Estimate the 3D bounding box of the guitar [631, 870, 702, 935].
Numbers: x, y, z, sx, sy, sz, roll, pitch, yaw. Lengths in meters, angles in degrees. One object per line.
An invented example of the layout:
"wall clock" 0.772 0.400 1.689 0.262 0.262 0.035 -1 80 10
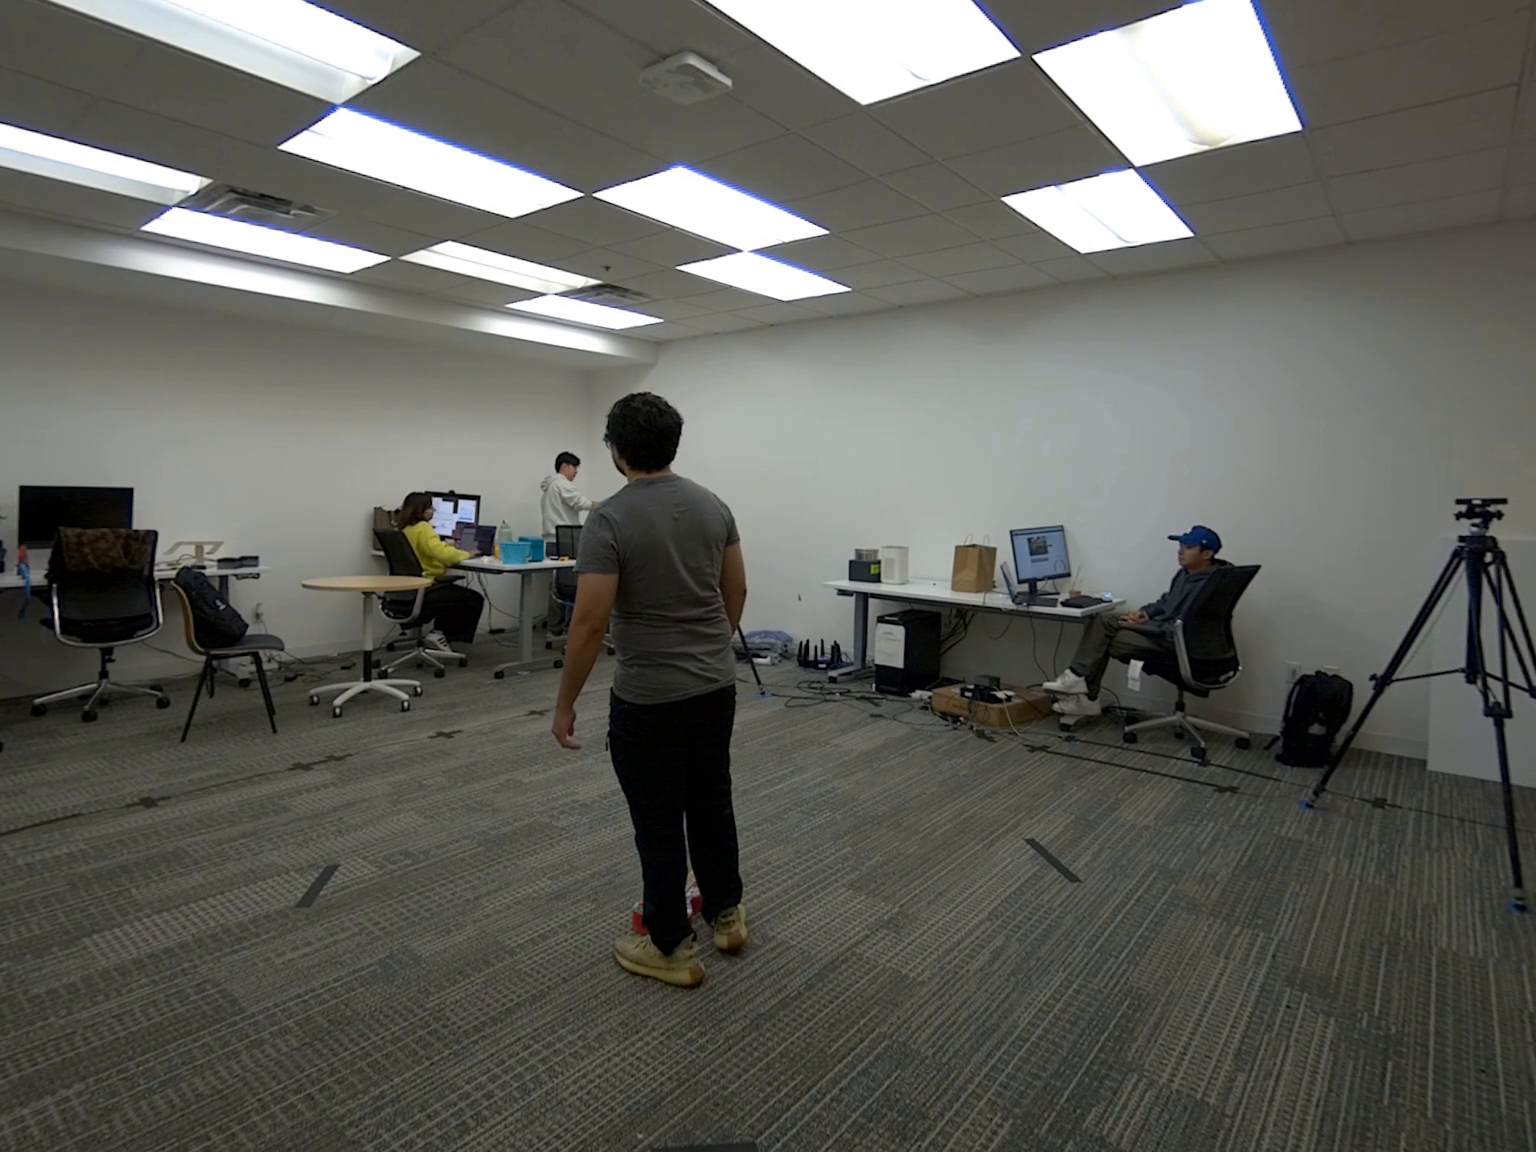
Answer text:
"guitar" -0.258 1.056 2.842 0.198 0.070 0.486 3 6 26
